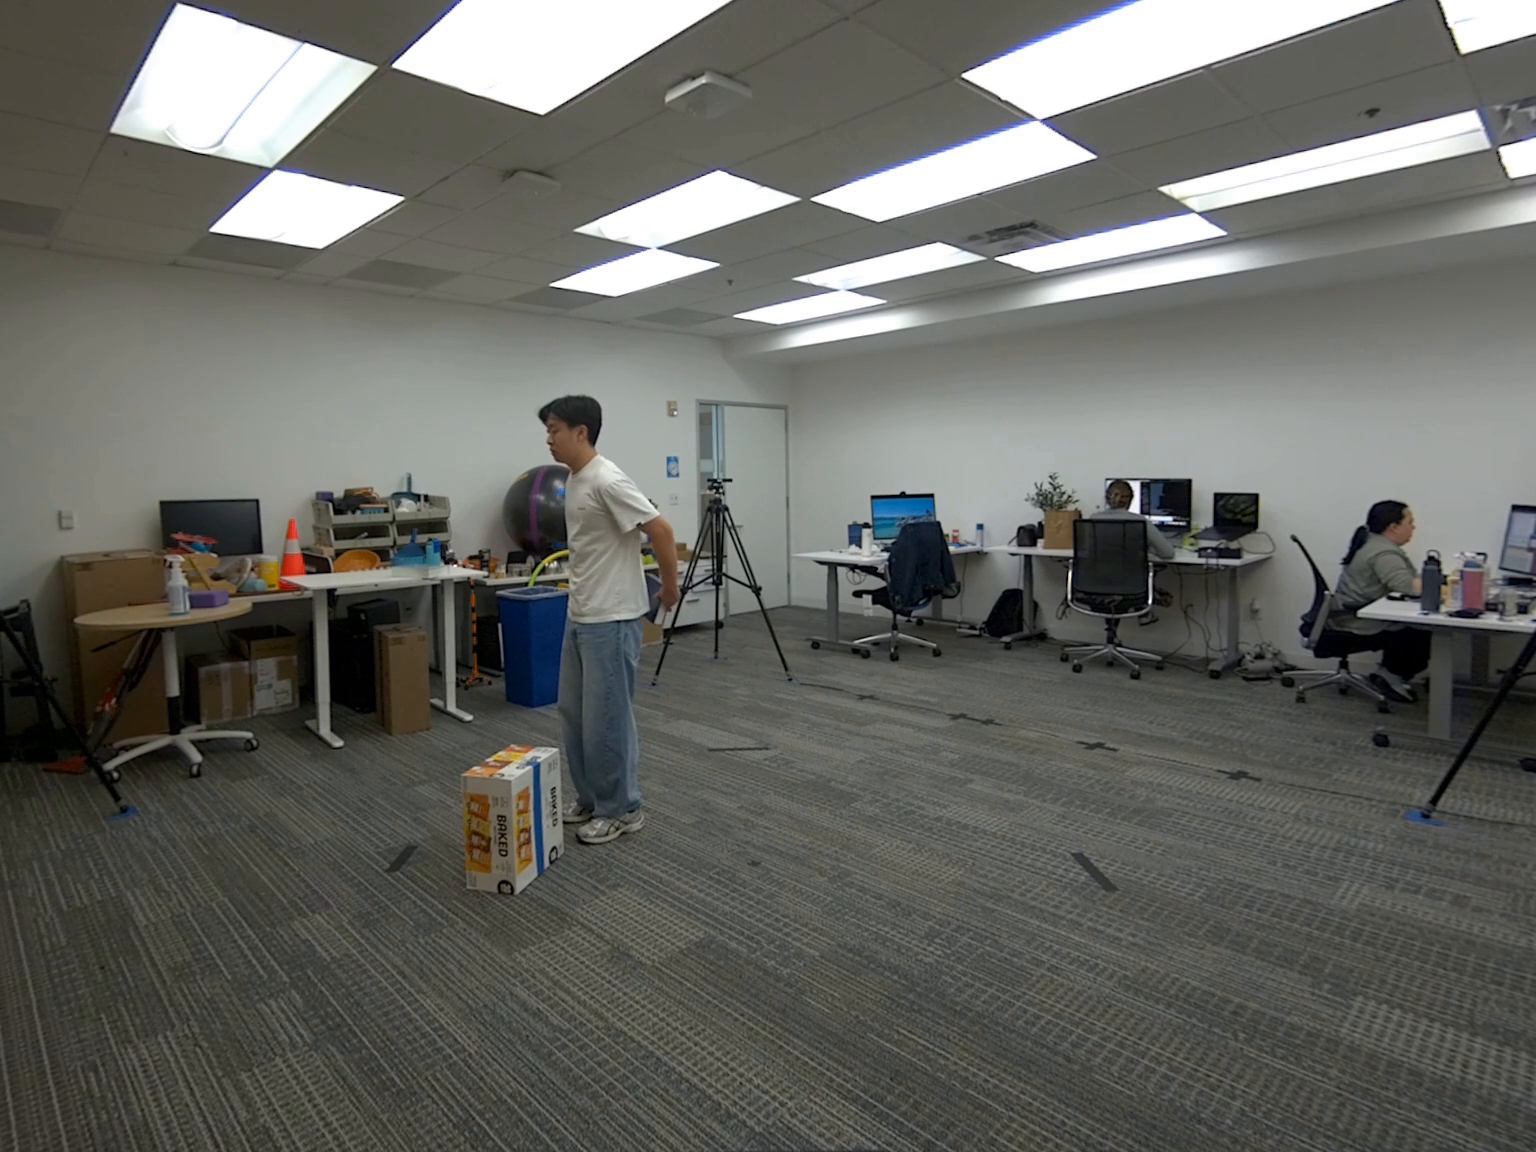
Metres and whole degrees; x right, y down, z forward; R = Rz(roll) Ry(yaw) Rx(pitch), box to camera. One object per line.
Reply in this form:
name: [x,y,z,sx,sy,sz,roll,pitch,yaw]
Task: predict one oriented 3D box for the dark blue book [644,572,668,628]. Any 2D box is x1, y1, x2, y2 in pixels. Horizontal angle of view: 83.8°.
dark blue book: [-0.481,0.102,3.556,0.044,0.162,0.253,13,11,-26]
